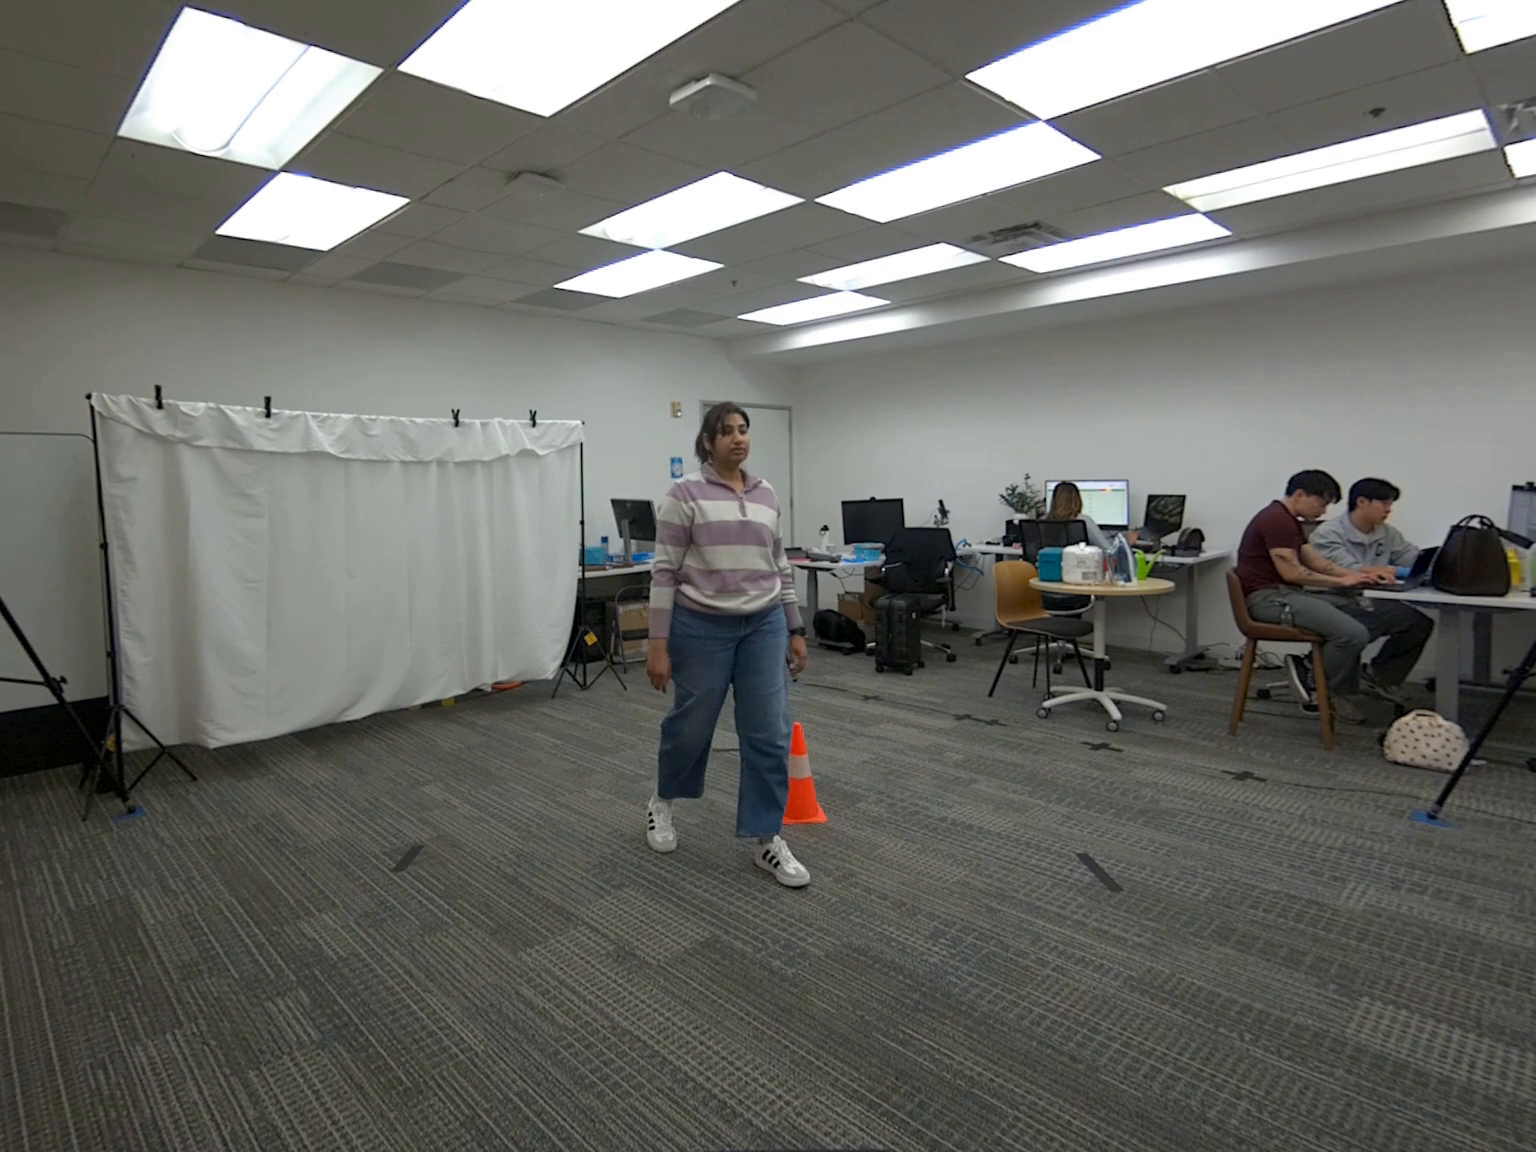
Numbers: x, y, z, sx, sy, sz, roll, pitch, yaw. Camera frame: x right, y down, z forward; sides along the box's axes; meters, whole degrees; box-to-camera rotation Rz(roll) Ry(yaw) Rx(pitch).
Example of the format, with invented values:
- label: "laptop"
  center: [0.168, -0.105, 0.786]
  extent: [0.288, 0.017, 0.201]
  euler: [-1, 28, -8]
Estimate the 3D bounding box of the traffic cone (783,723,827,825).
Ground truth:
- label: "traffic cone"
  center: [0.138, 0.808, 3.563]
  extent: [0.203, 0.382, 0.206]
  euler: [-1, 5, -9]
